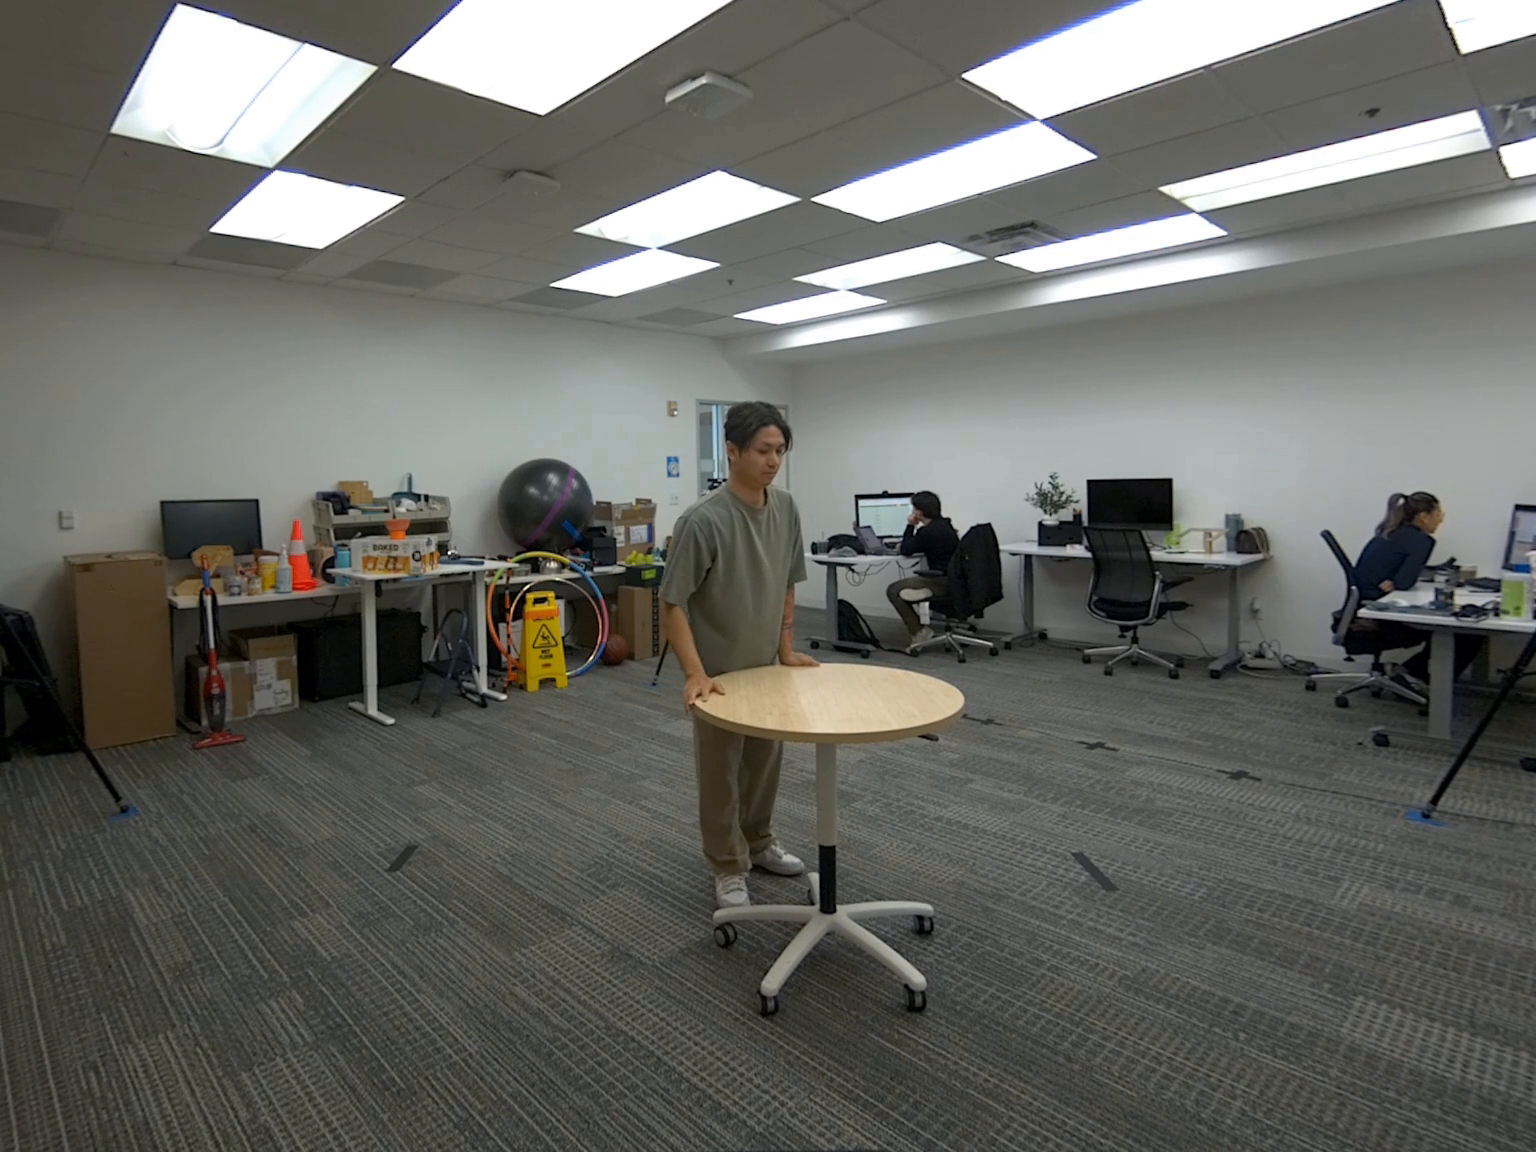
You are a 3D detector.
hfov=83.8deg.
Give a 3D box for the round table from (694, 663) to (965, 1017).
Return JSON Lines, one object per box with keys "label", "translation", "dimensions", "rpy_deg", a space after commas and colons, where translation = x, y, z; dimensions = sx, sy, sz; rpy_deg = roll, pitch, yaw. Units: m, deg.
{"label": "round table", "translation": [0.165, 0.722, 2.457], "dimensions": [0.784, 0.783, 0.789], "rpy_deg": [-1, 5, -2]}
